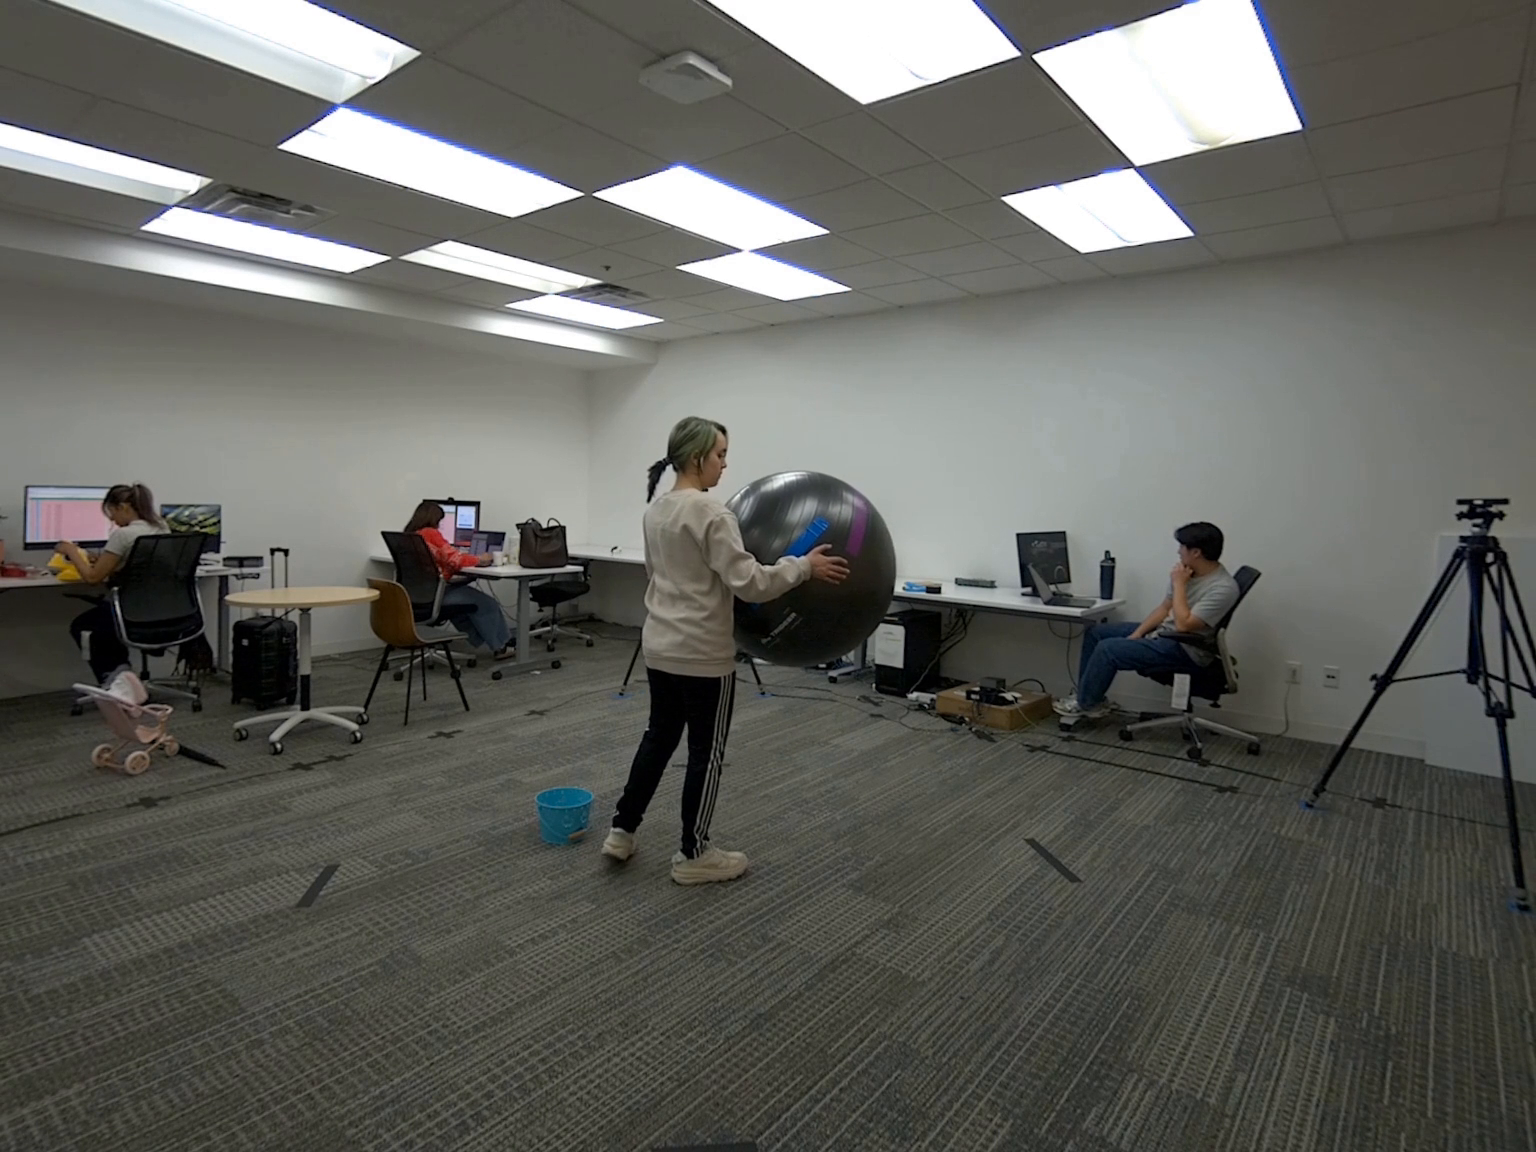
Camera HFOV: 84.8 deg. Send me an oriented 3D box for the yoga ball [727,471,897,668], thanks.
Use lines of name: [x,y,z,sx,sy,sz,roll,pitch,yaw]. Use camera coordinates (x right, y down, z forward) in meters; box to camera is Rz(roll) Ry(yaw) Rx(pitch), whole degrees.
yoga ball: [0.117,-0.022,3.321,0.757,0.755,0.762,1,4,-2]
